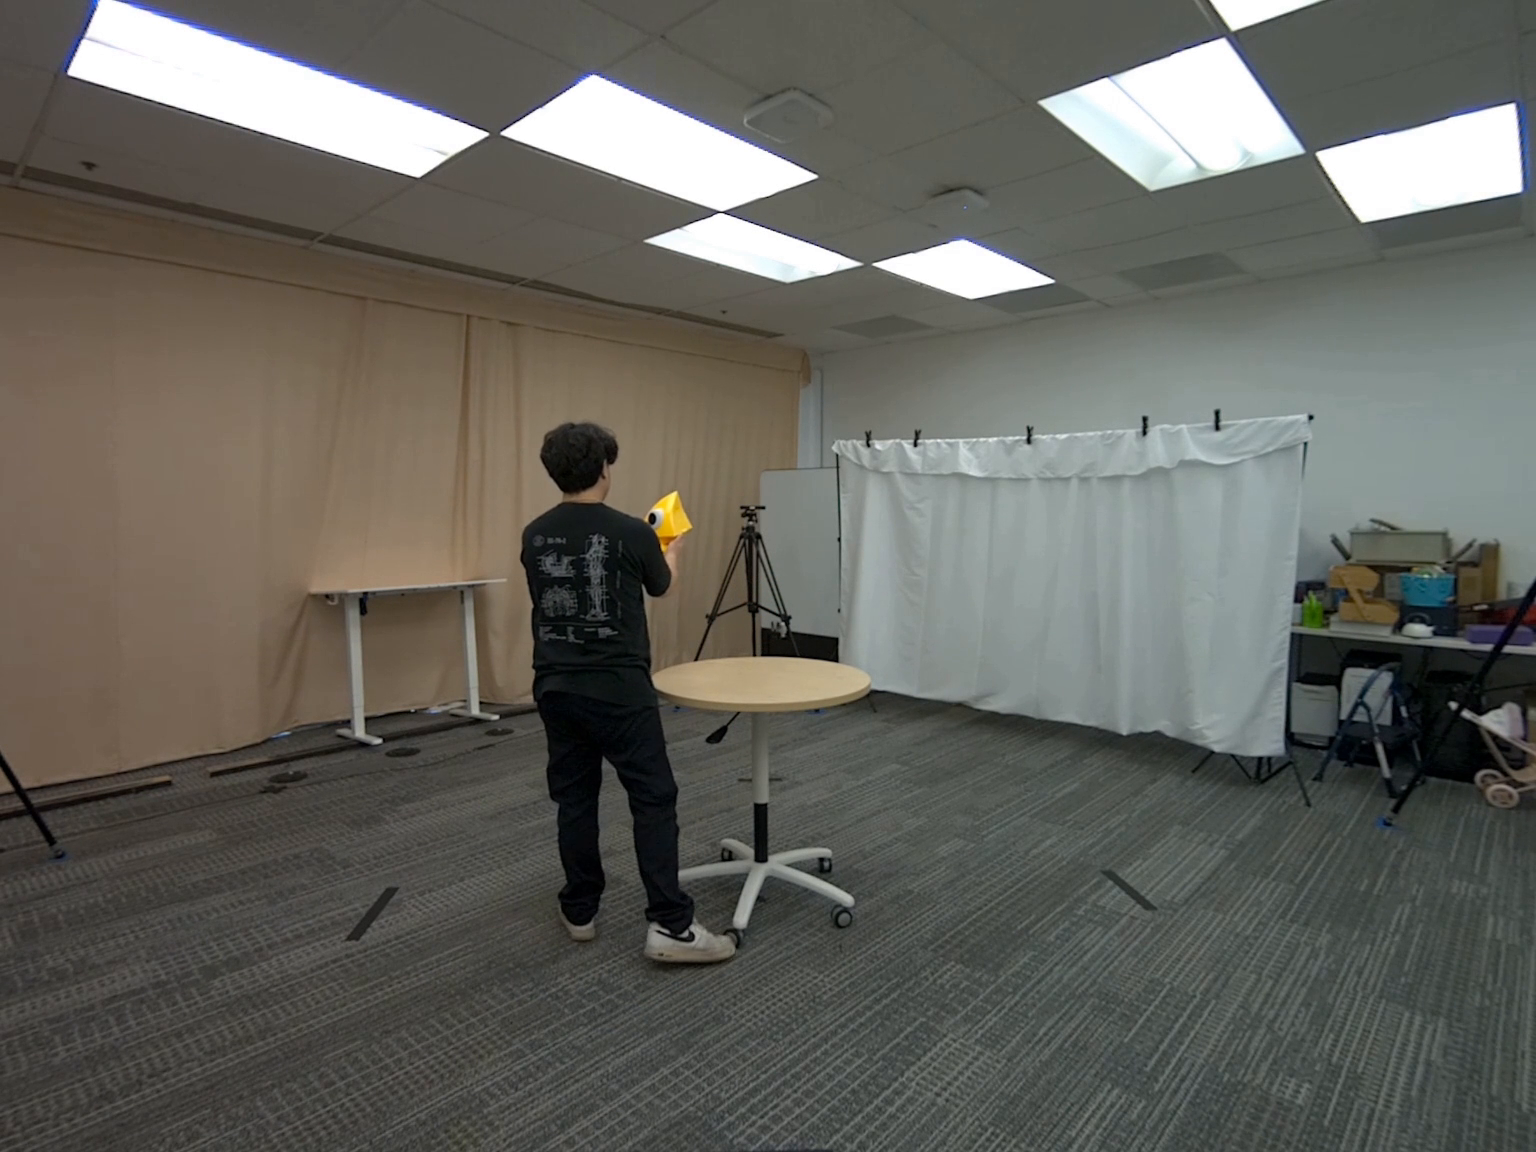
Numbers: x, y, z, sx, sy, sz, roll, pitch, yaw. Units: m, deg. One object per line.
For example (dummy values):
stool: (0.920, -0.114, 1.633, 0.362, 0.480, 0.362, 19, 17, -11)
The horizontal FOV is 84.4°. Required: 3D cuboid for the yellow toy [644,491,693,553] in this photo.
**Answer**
yellow toy: (-0.401, -0.209, 3.199, 0.196, 0.229, 0.203, 6, 12, 13)
